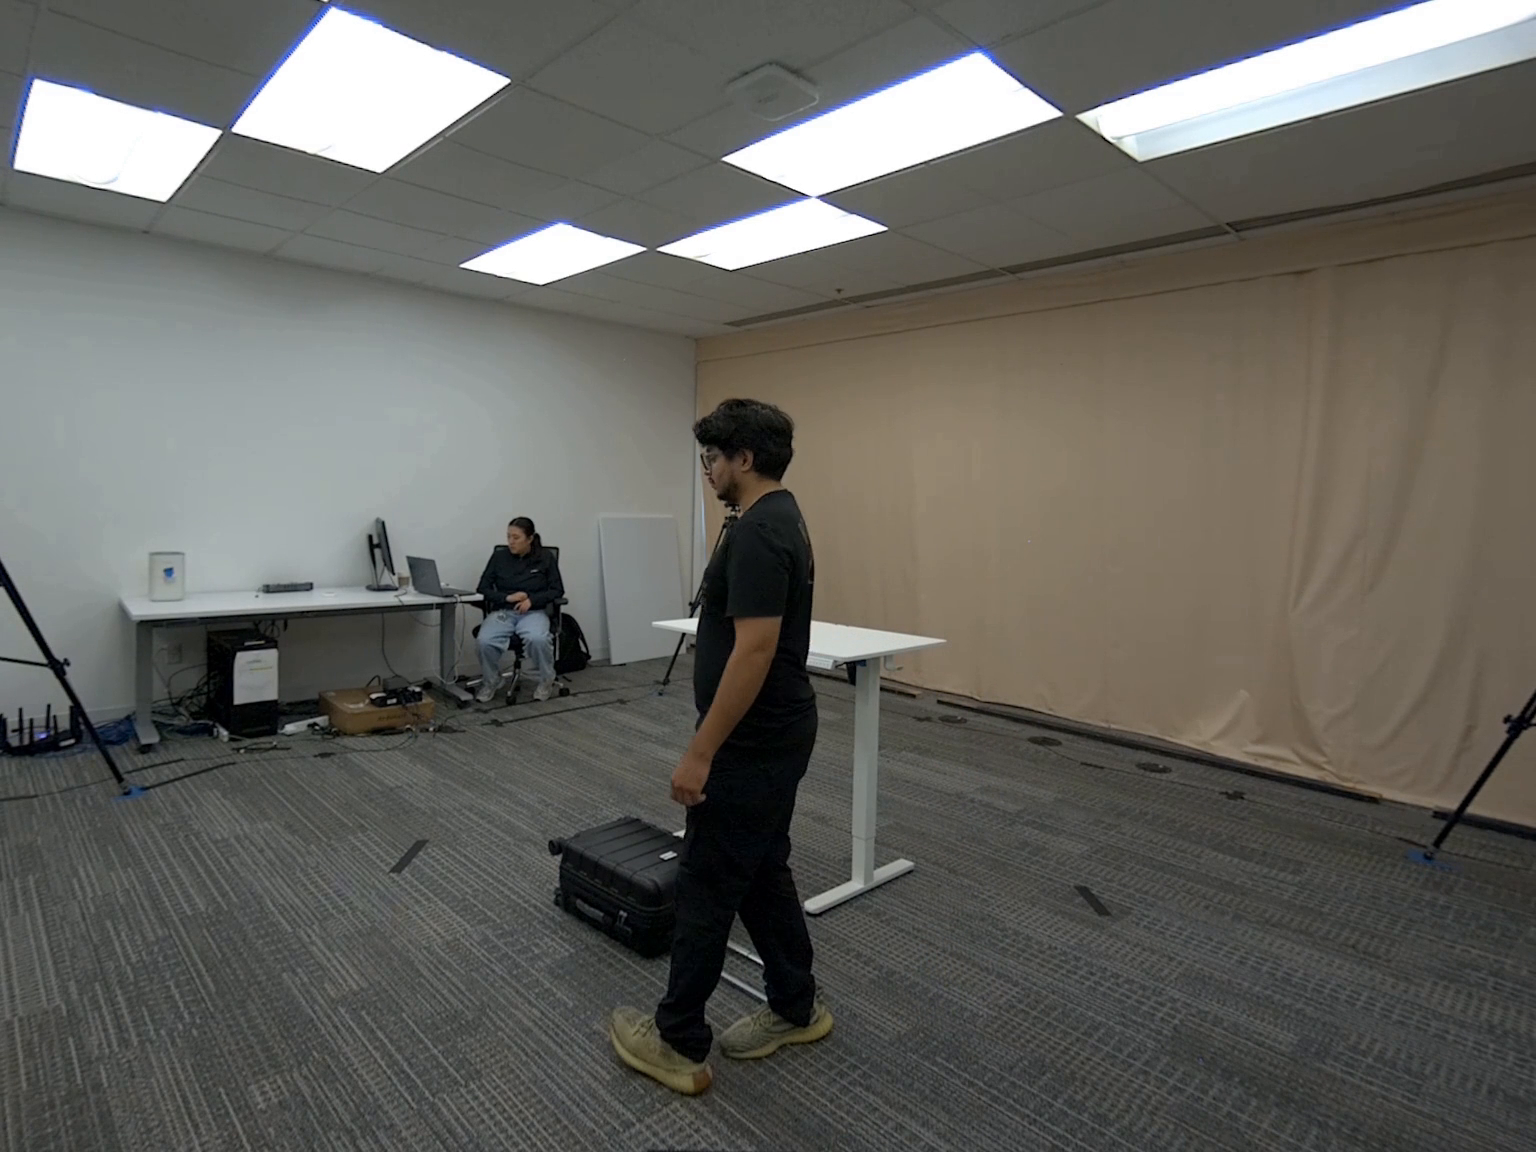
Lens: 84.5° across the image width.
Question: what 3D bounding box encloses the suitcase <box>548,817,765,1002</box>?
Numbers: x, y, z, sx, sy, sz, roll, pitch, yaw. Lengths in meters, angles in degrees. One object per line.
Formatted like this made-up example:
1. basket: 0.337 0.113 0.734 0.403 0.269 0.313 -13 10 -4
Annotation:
1. suitcase: -0.277 1.020 2.628 1.003 0.256 0.375 4 4 42
